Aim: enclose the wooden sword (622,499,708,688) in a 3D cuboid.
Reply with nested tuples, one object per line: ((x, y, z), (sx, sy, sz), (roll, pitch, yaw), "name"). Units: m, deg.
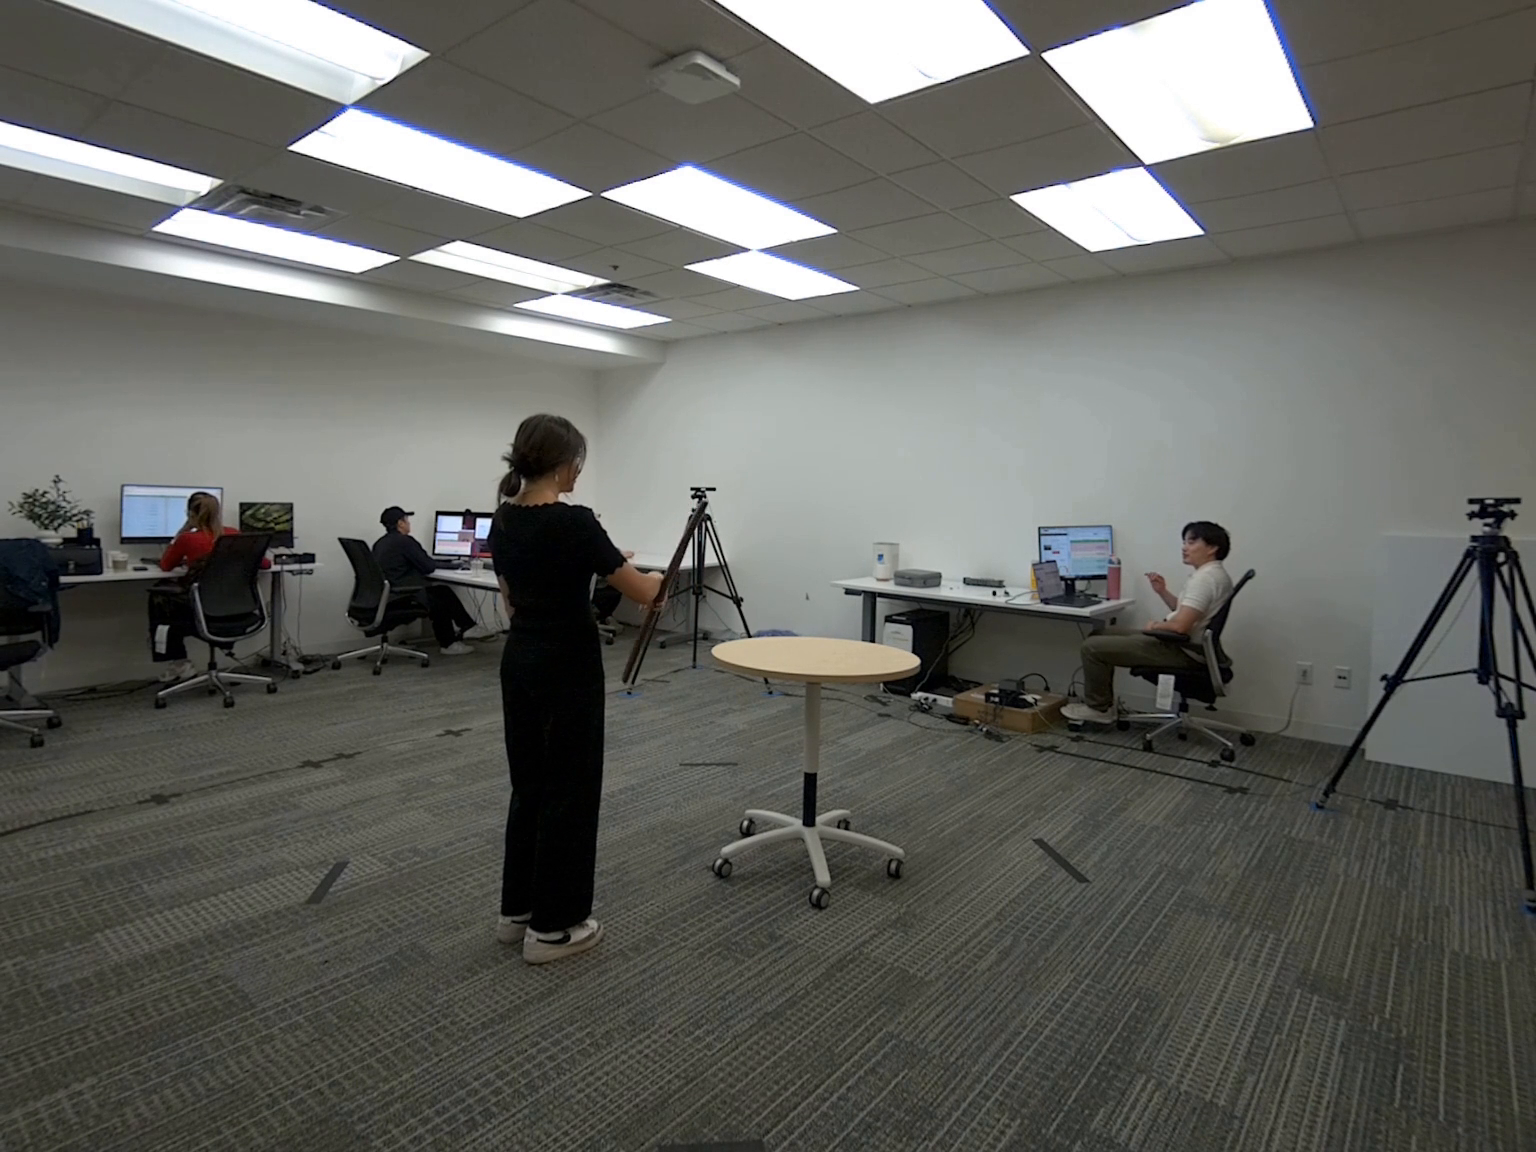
((-0.358, 0.061, 2.708), (0.024, 0.052, 1.013), (14, -40, -13), "wooden sword")
